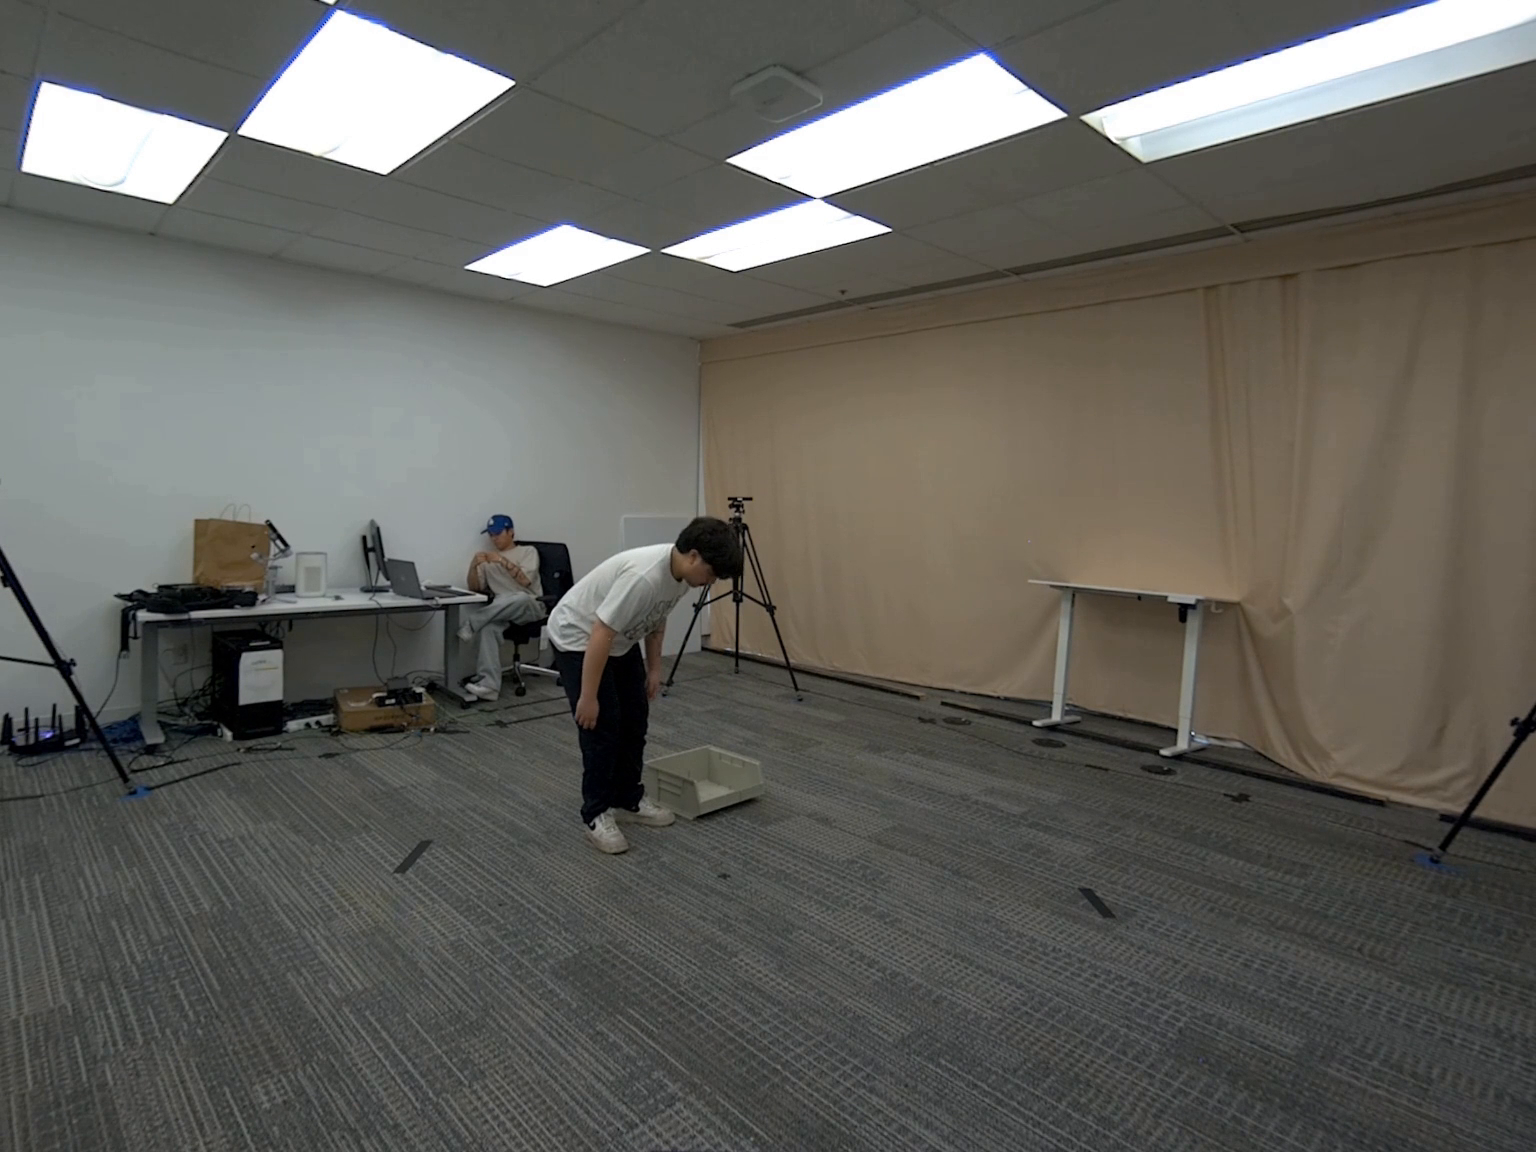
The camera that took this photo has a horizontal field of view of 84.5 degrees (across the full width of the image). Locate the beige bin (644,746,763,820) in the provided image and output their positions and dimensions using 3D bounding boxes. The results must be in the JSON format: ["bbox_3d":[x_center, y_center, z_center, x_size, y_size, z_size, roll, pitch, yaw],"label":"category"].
[{"bbox_3d":[-0.304,0.949,3.884,0.387,0.188,0.413,5,6,43],"label":"beige bin"}]
